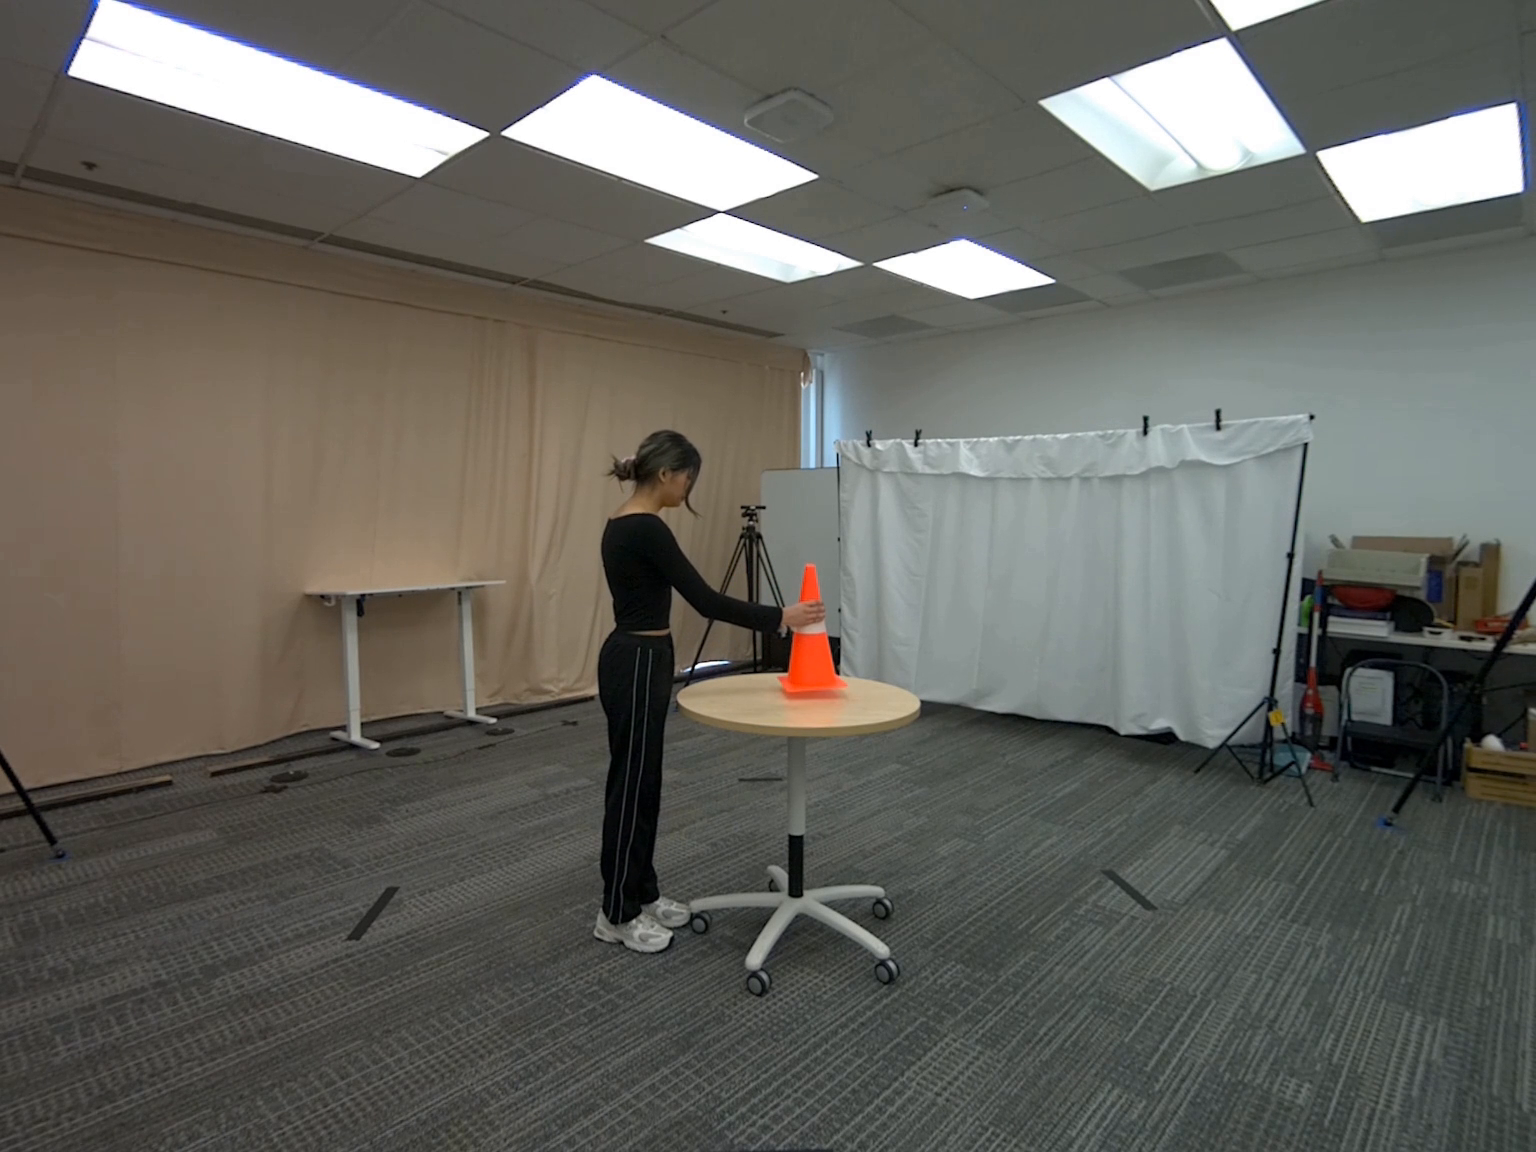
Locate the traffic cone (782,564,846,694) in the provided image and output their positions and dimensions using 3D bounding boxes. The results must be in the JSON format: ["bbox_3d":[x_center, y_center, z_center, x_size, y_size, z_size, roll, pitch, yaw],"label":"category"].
[{"bbox_3d":[0.136,0.158,2.698,0.202,0.382,0.207,-1,6,-5],"label":"traffic cone"}]
